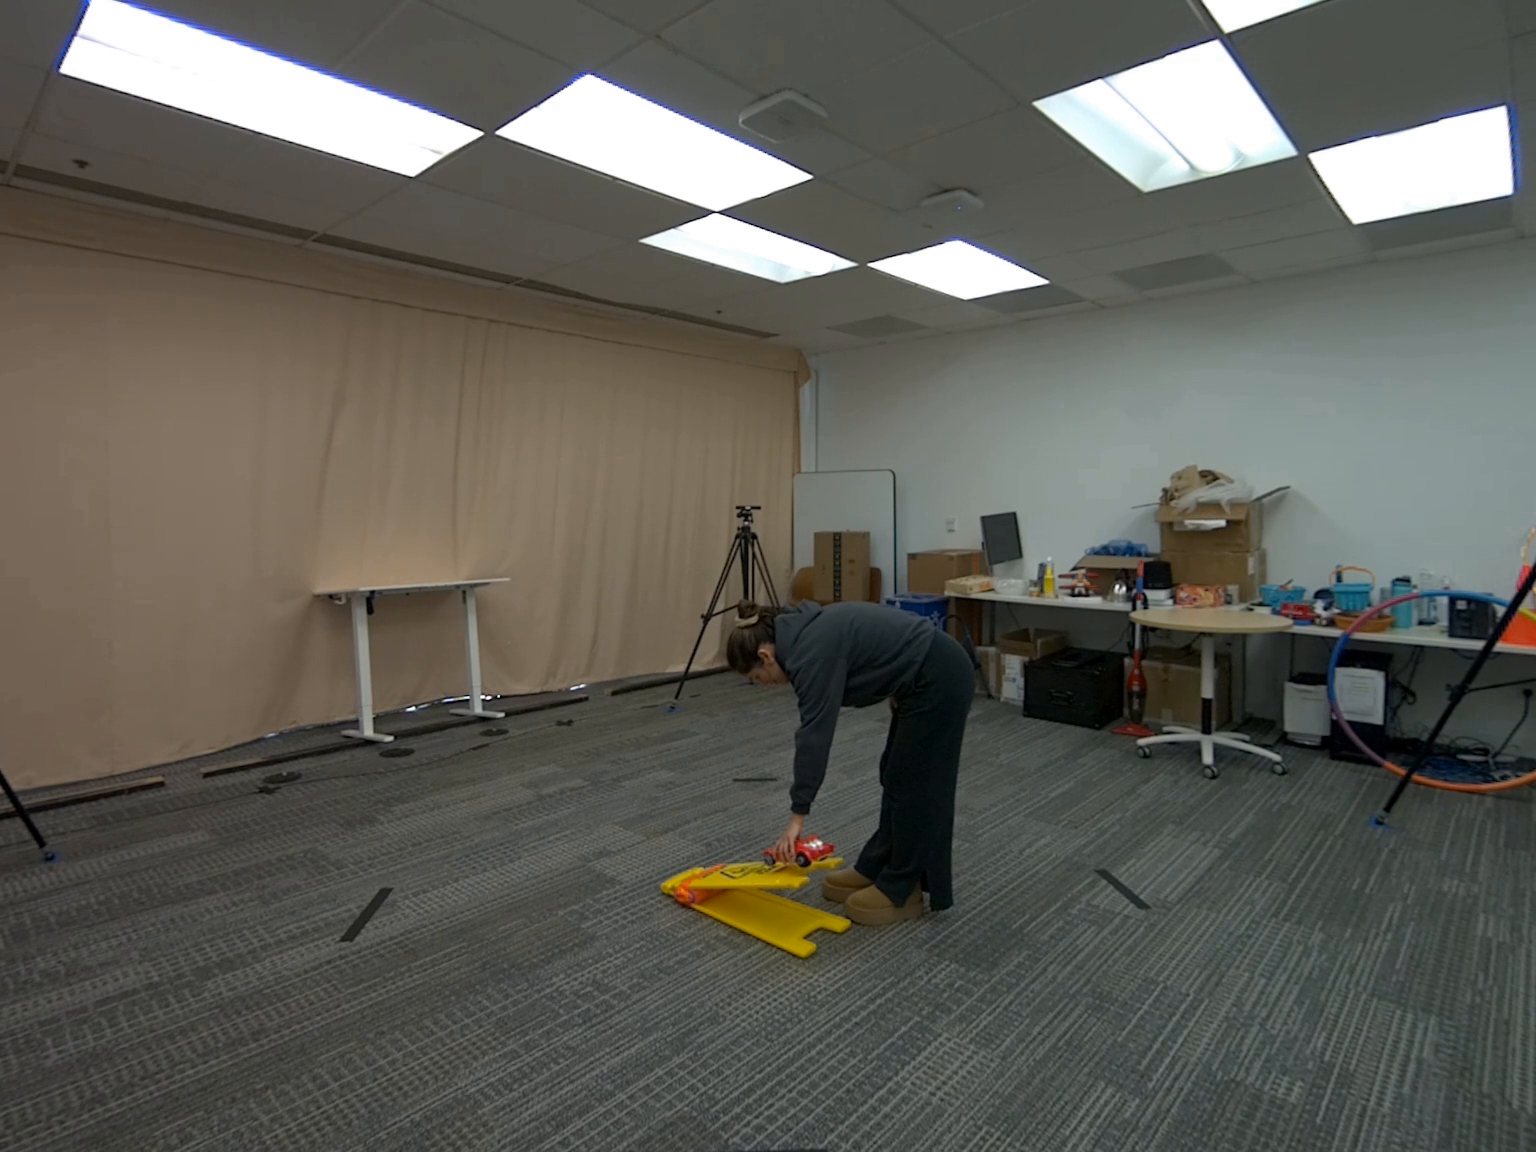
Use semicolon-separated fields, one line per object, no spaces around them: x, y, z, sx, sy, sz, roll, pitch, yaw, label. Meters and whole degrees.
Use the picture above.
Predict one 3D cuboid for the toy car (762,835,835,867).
0.130;0.906;2.728;0.126;0.084;0.259;-1;-23;-47;toy car
